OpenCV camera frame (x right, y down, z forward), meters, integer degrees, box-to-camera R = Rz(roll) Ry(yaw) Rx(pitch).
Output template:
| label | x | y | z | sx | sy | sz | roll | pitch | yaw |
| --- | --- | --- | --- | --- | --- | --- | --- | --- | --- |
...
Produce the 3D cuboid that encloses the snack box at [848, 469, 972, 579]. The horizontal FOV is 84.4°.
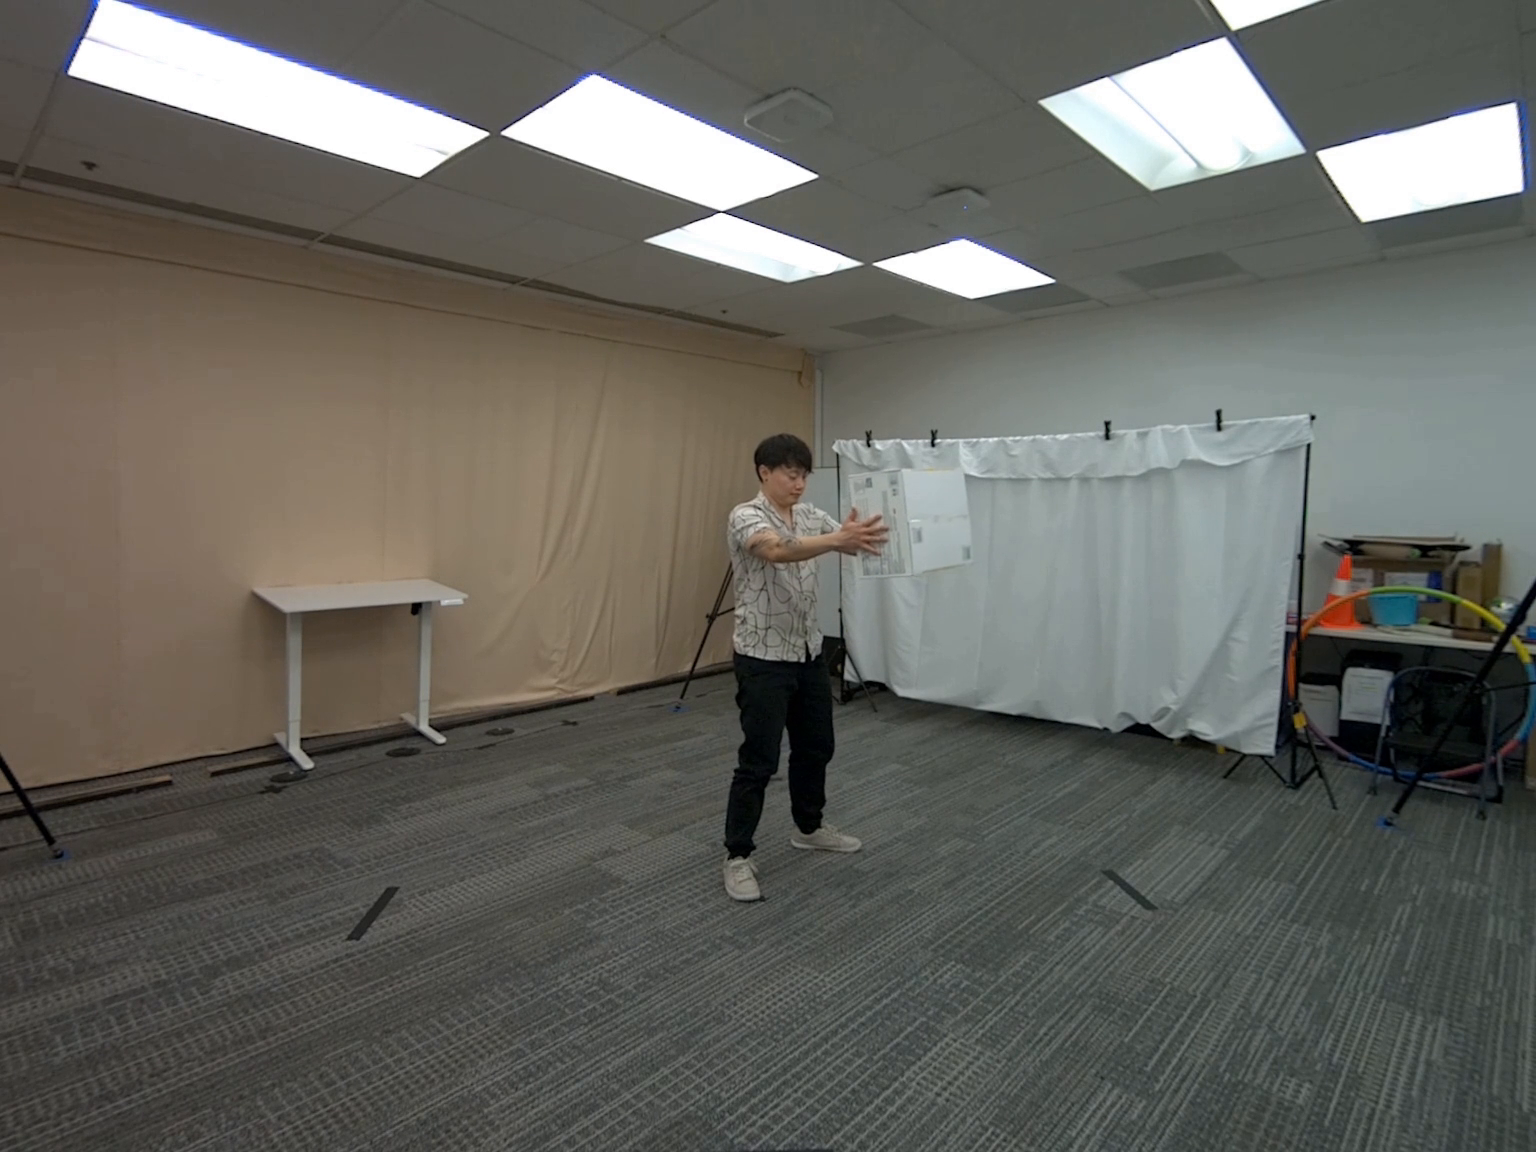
| label | x | y | z | sx | sy | sz | roll | pitch | yaw |
| --- | --- | --- | --- | --- | --- | --- | --- | --- | --- |
| snack box | 0.493 | -0.177 | 2.818 | 0.212 | 0.340 | 0.393 | -5 | 2 | 42 |
